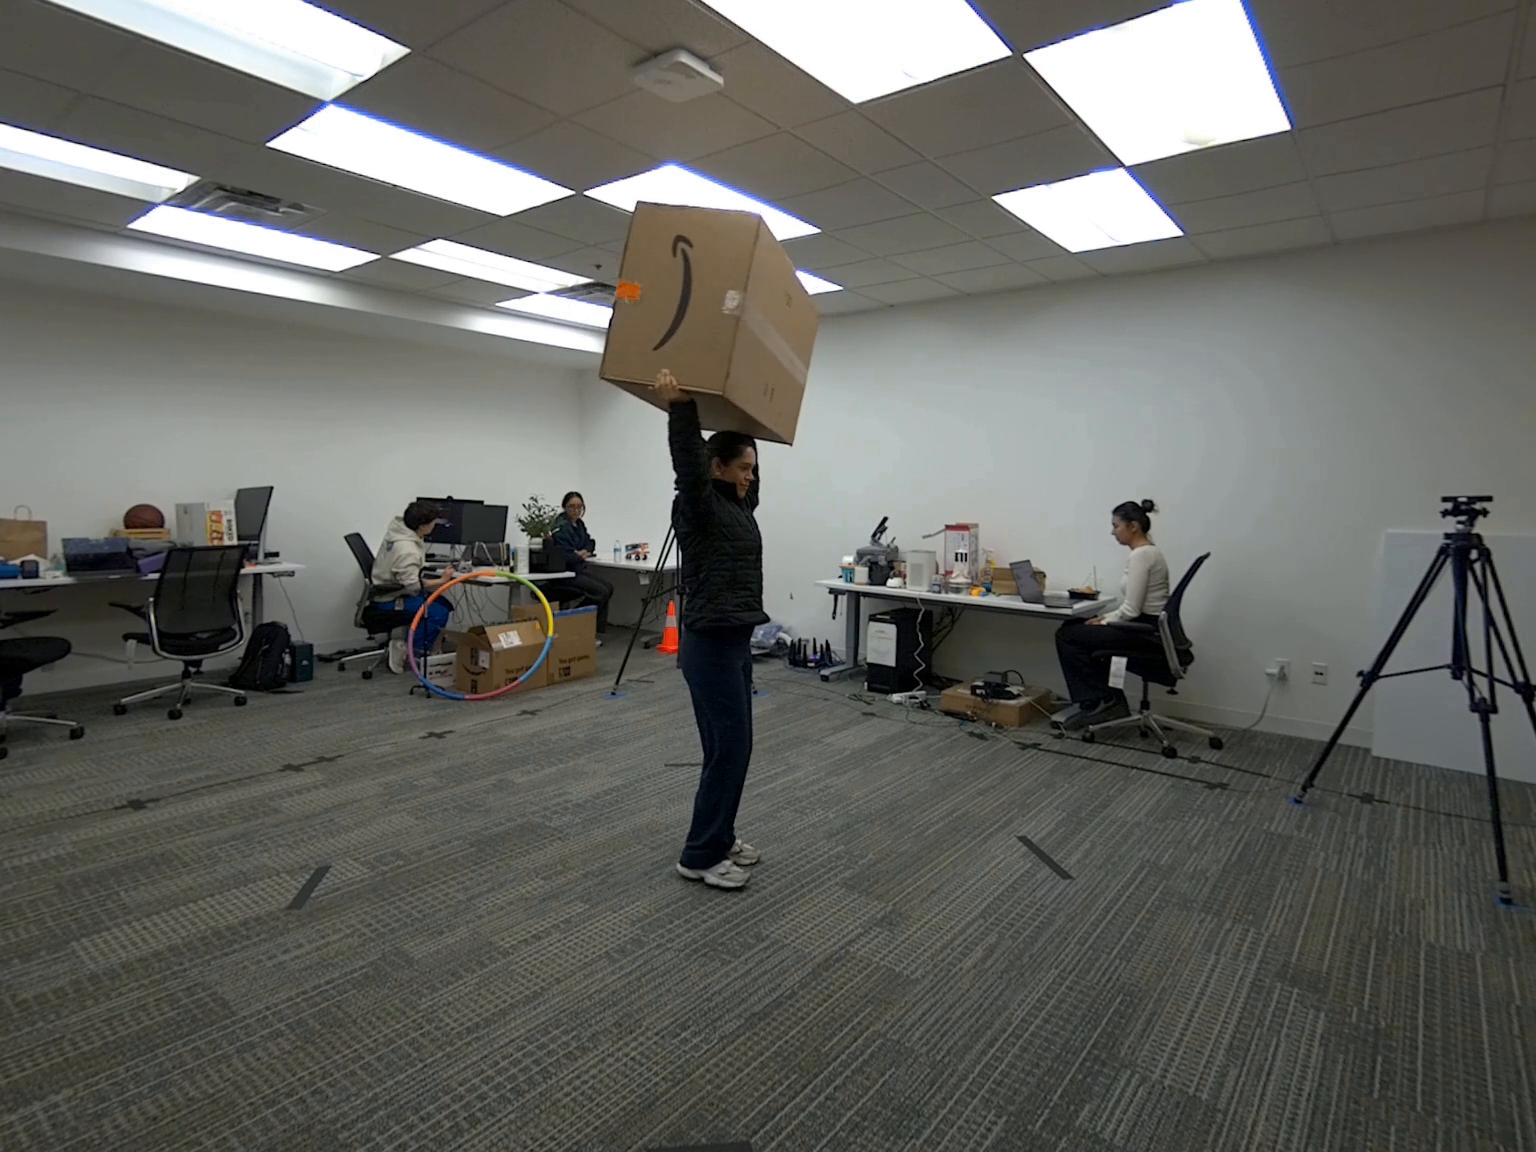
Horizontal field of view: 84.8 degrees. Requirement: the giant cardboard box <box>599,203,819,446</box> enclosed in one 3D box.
[{"bbox_3d":[-0.149,-0.867,3.121,0.455,0.583,1.008,11,2,14],"label":"giant cardboard box"}]
